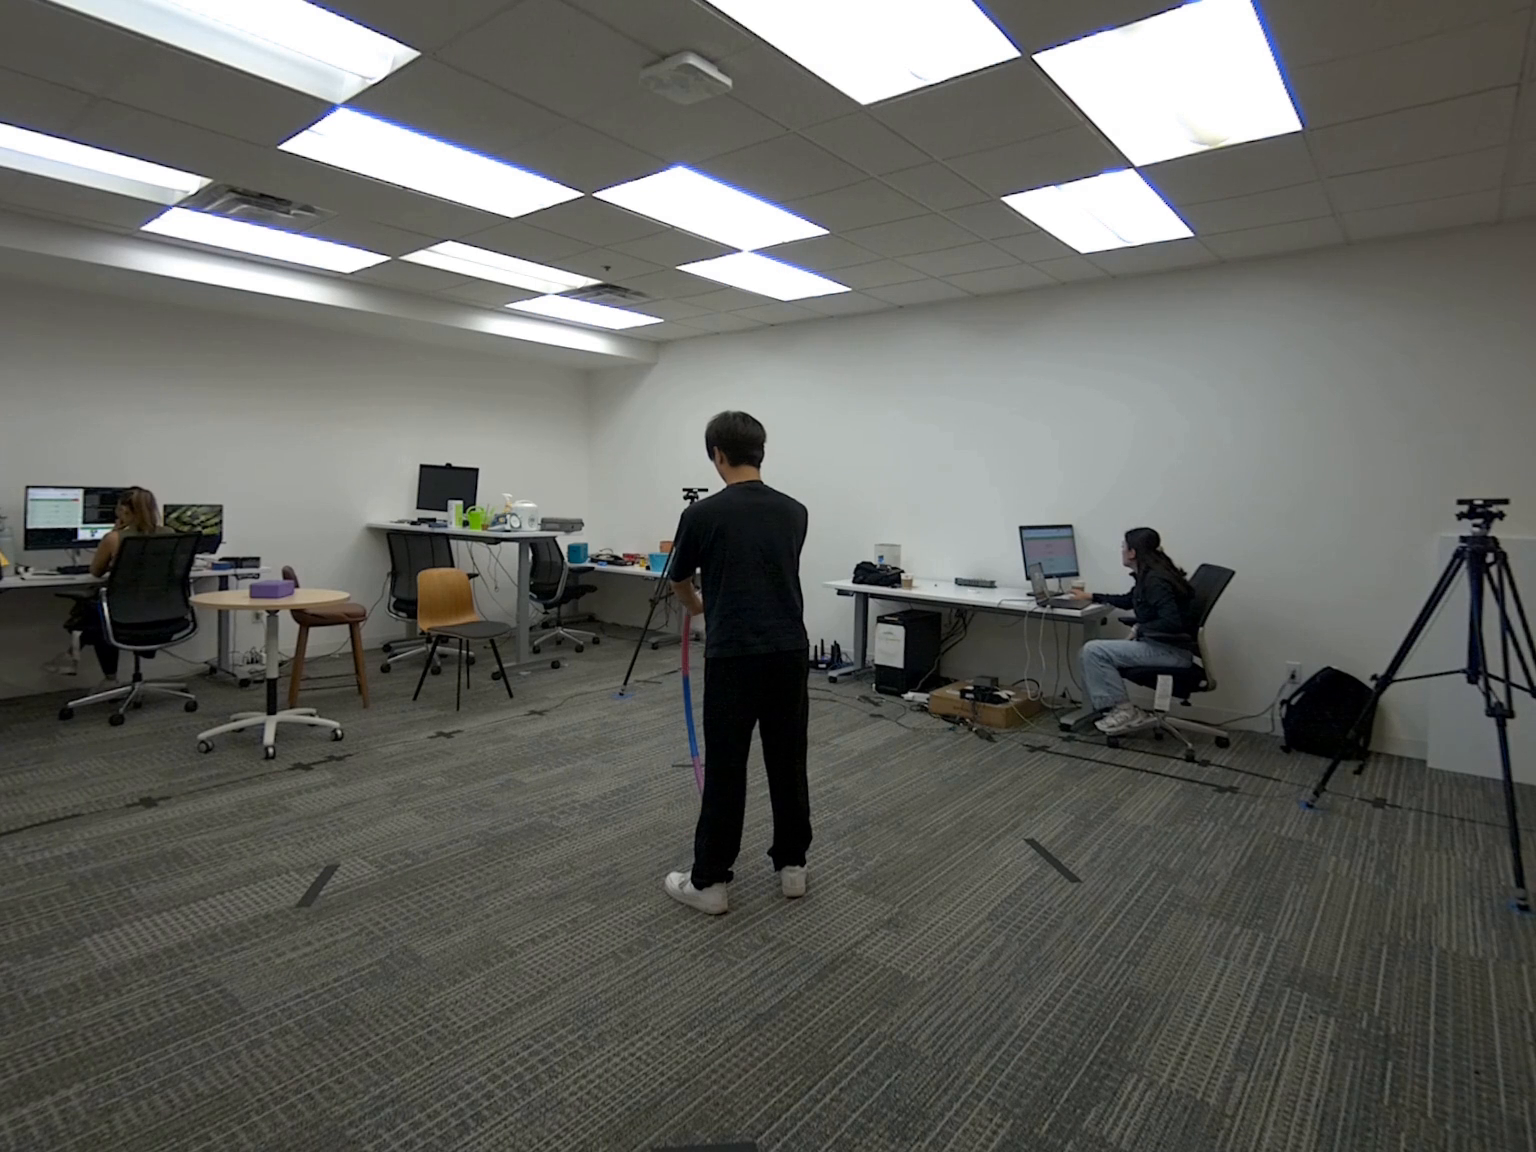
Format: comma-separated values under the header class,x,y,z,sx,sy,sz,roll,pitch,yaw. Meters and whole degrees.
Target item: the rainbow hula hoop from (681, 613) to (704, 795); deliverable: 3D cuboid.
class,x,y,z,sx,sy,sz,roll,pitch,yaw
rainbow hula hoop,-0.241,0.550,3.427,0.035,0.974,0.996,-4,5,-15
